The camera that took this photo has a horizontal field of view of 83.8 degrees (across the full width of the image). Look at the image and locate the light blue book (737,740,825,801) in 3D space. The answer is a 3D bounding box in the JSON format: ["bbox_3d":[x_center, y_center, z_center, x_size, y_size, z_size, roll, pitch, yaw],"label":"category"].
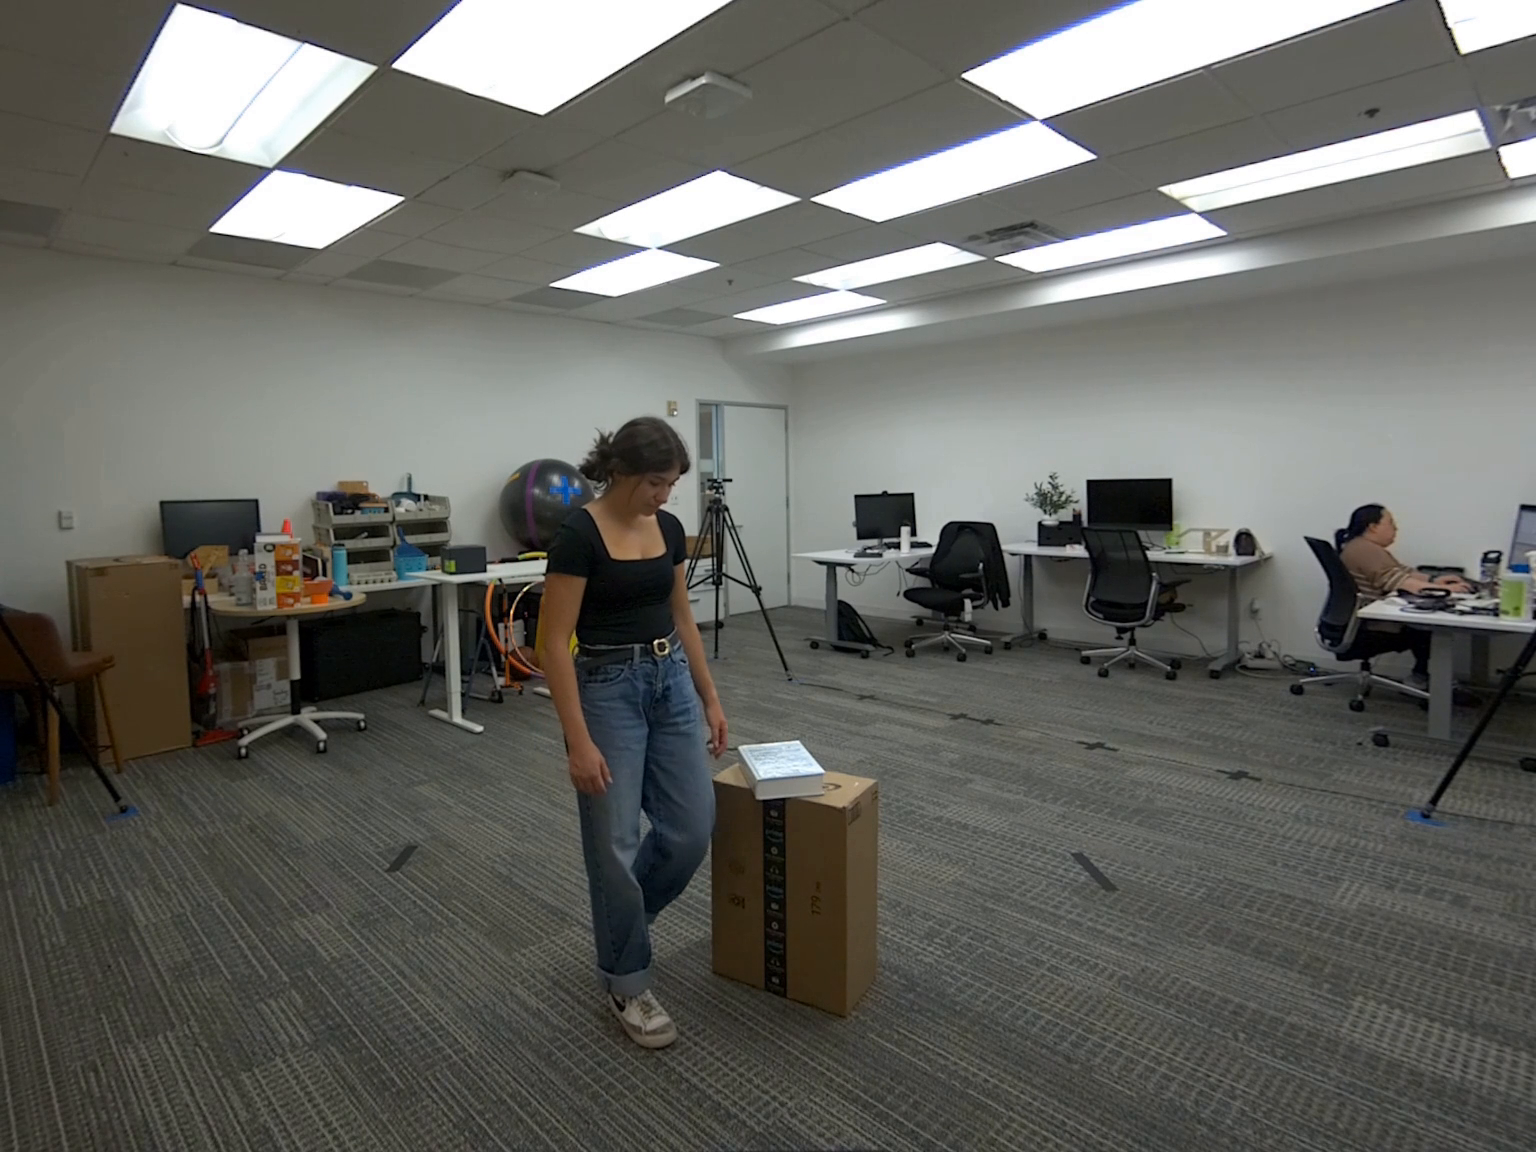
[{"bbox_3d":[0.036,0.540,2.363,0.189,0.059,0.265,-3,7,-12],"label":"light blue book"}]
